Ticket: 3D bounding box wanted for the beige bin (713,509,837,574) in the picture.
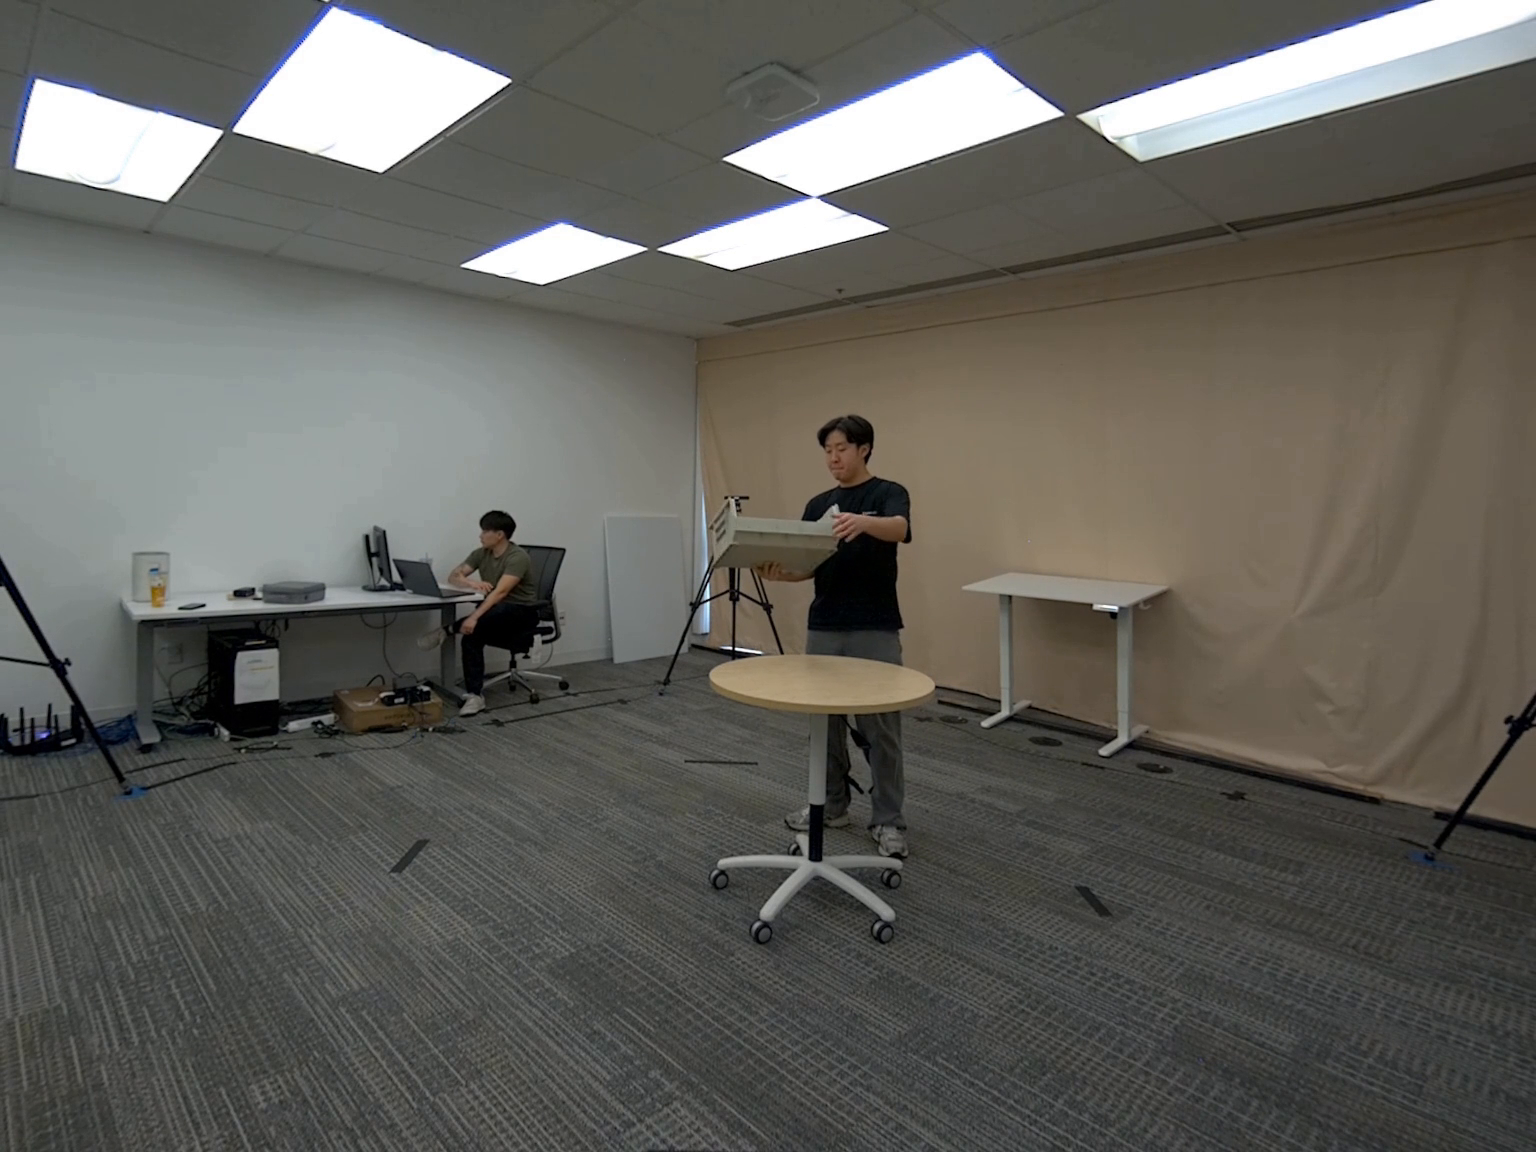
[{"bbox_3d":[0.017,-0.148,3.224,0.417,0.191,0.377,2,-18,-17],"label":"beige bin"}]
